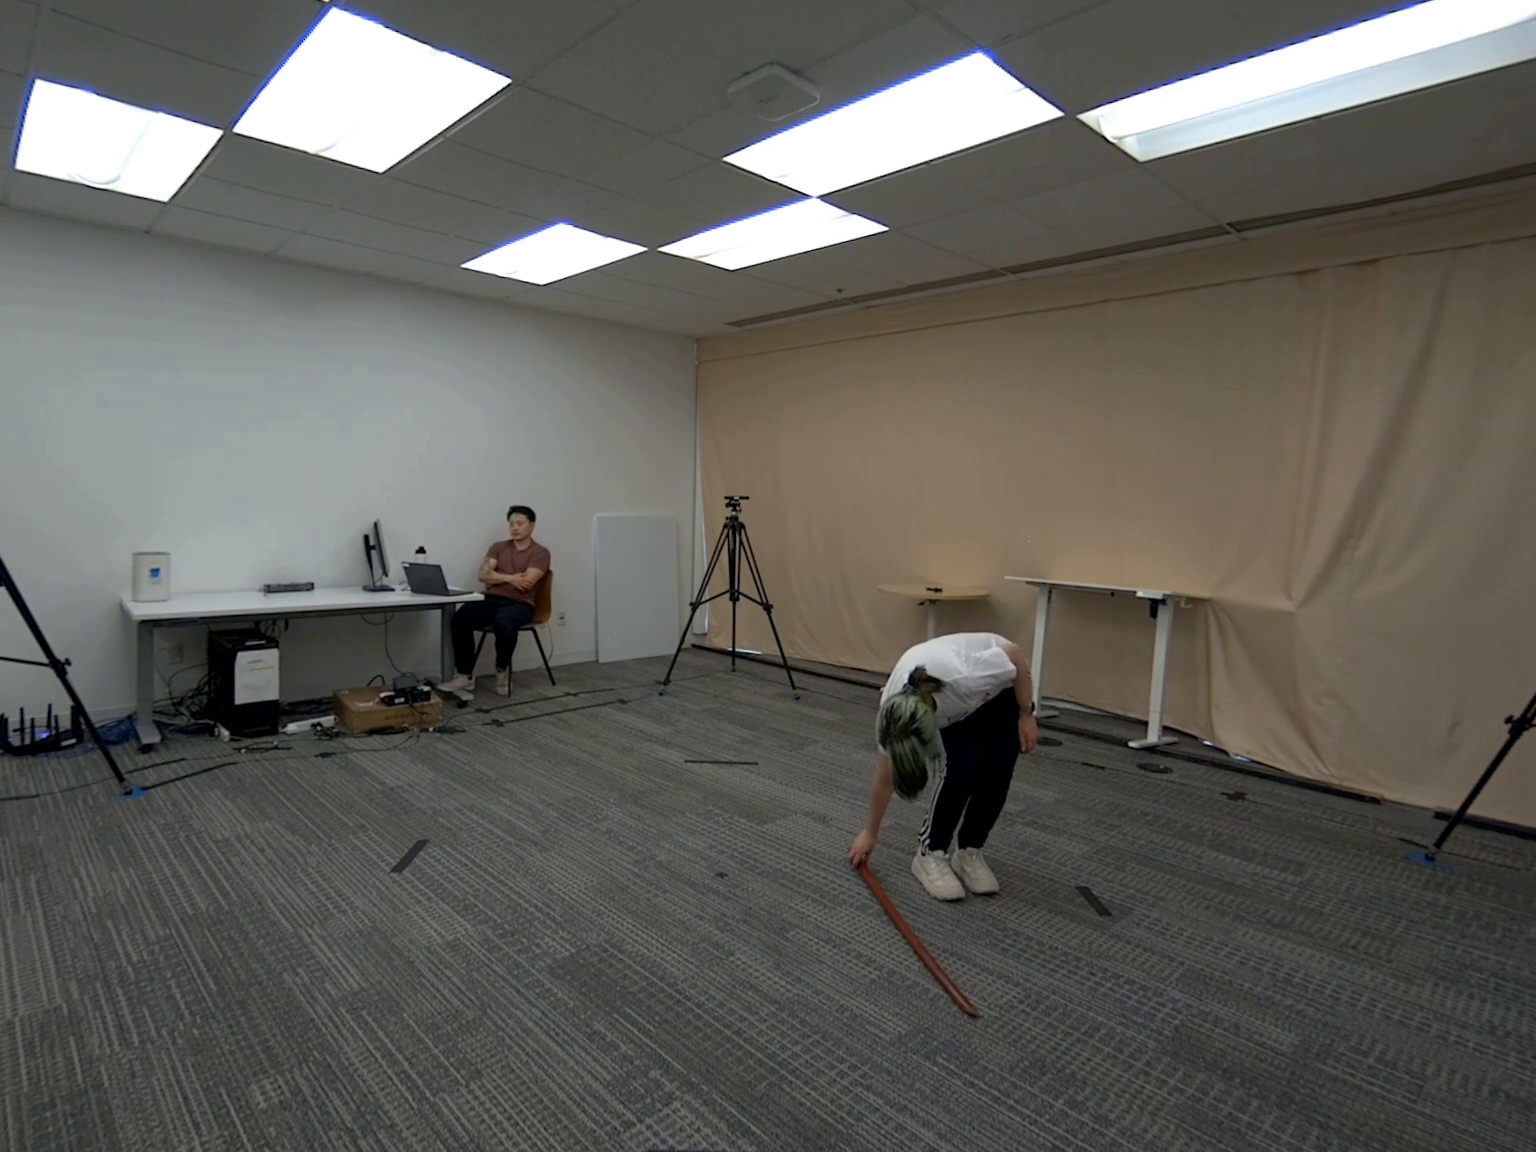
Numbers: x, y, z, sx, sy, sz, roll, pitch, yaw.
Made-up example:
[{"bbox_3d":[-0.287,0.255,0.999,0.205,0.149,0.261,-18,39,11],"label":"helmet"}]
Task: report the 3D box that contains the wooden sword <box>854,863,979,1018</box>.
[{"bbox_3d":[0.424,1.132,2.769,0.024,0.051,1.038,27,-1,-15],"label":"wooden sword"}]
